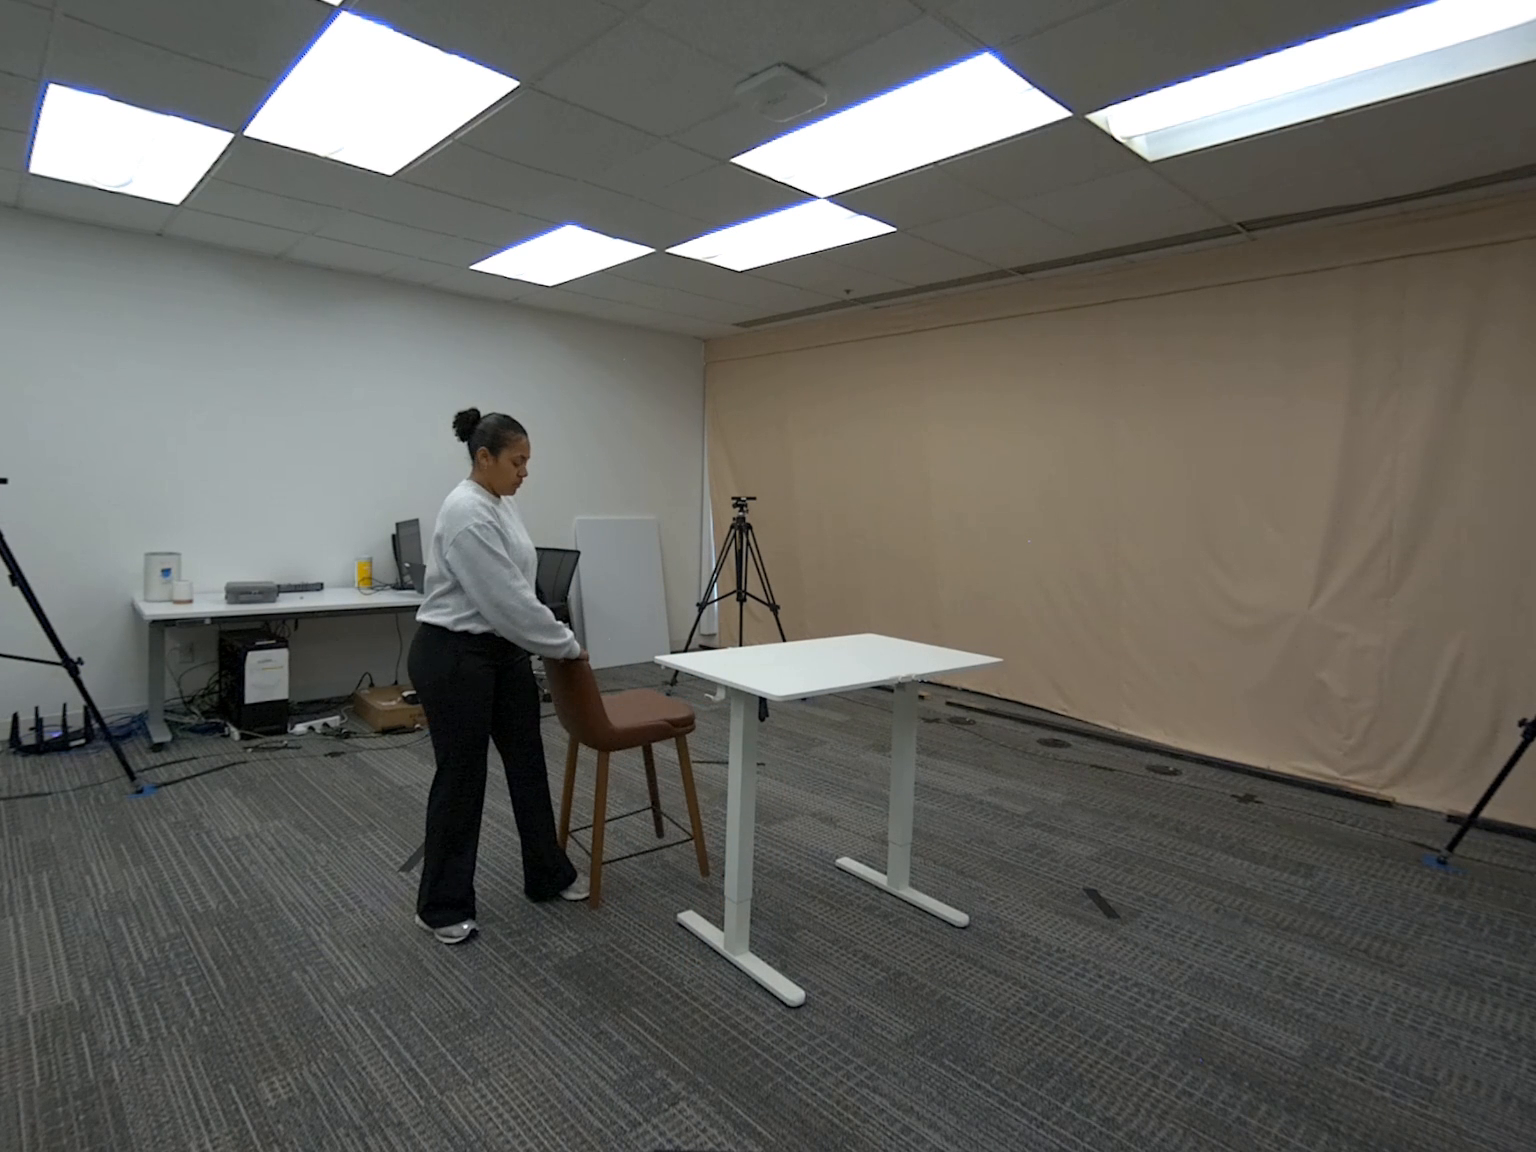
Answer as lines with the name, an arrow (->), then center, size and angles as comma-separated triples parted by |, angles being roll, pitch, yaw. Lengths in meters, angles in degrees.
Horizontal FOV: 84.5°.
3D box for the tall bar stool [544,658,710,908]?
tall bar stool -> -0.528, 0.653, 3.043 | 0.459, 0.885, 0.467 | -8, 8, -30
